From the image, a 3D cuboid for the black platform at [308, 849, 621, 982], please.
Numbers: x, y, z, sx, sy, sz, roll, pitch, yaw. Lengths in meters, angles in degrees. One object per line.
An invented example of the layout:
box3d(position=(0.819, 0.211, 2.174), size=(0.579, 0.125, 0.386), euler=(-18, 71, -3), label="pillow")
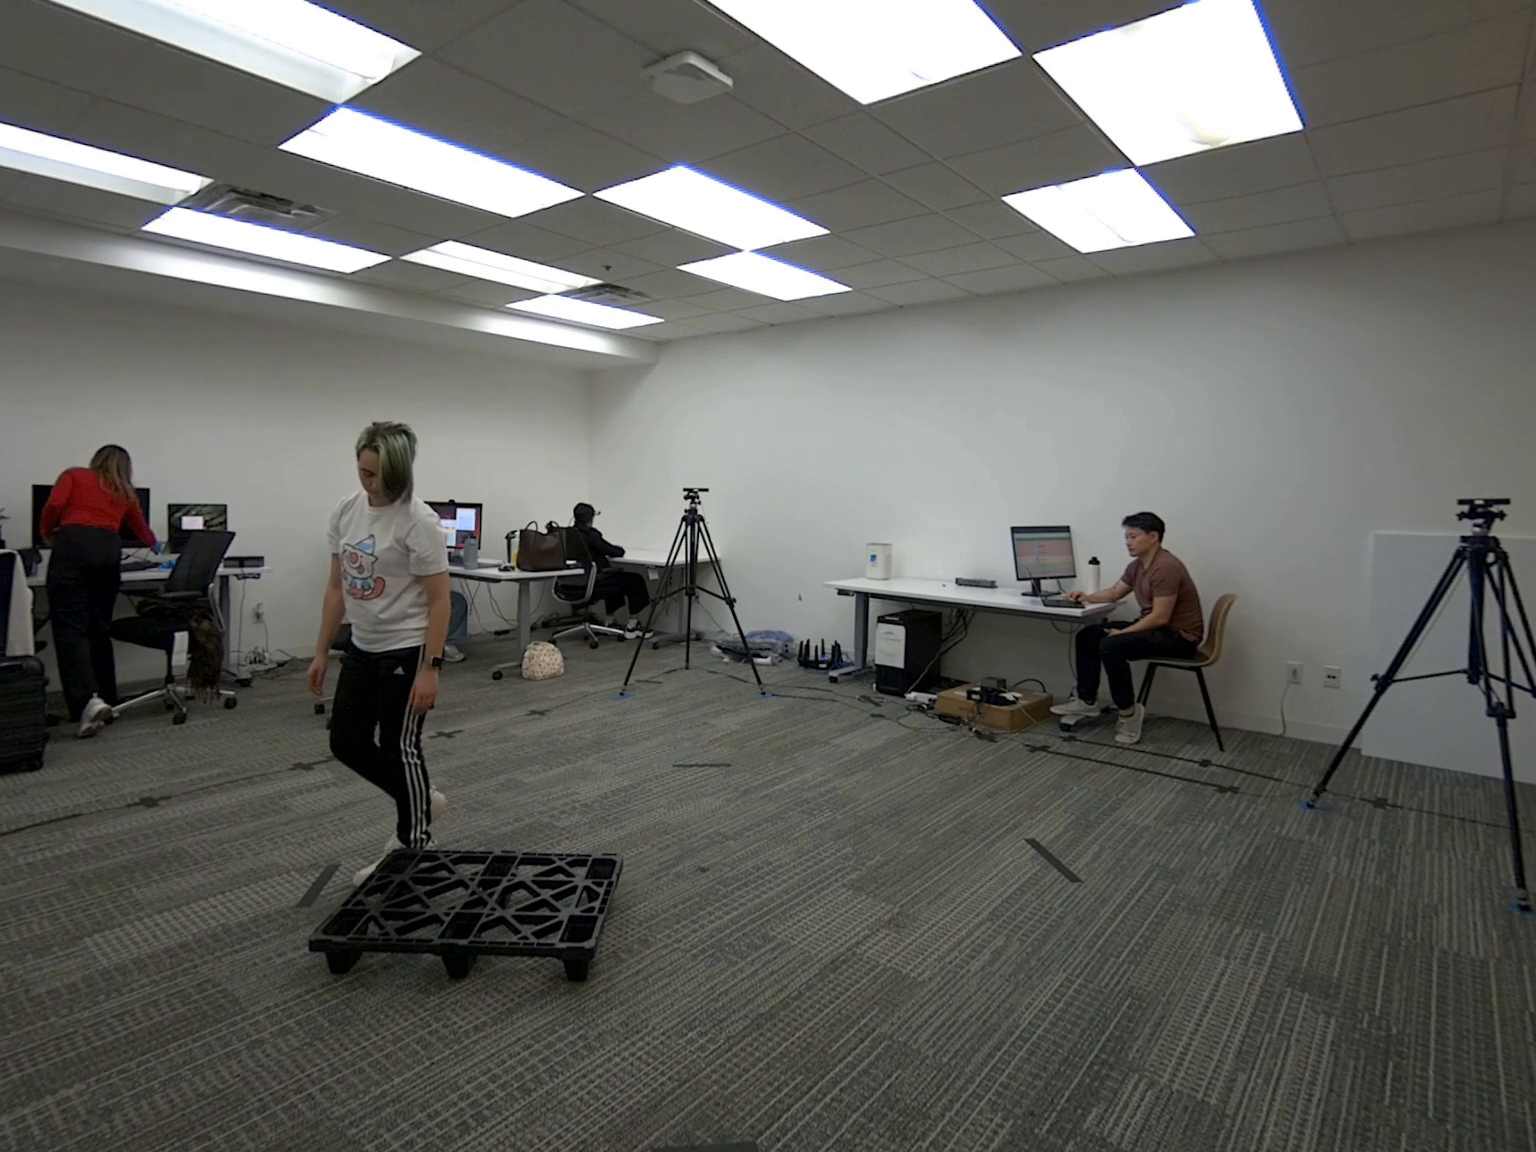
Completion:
box3d(position=(-0.889, 1.038, 2.625), size=(0.807, 0.142, 0.607), euler=(1, 7, 1), label="black platform")
